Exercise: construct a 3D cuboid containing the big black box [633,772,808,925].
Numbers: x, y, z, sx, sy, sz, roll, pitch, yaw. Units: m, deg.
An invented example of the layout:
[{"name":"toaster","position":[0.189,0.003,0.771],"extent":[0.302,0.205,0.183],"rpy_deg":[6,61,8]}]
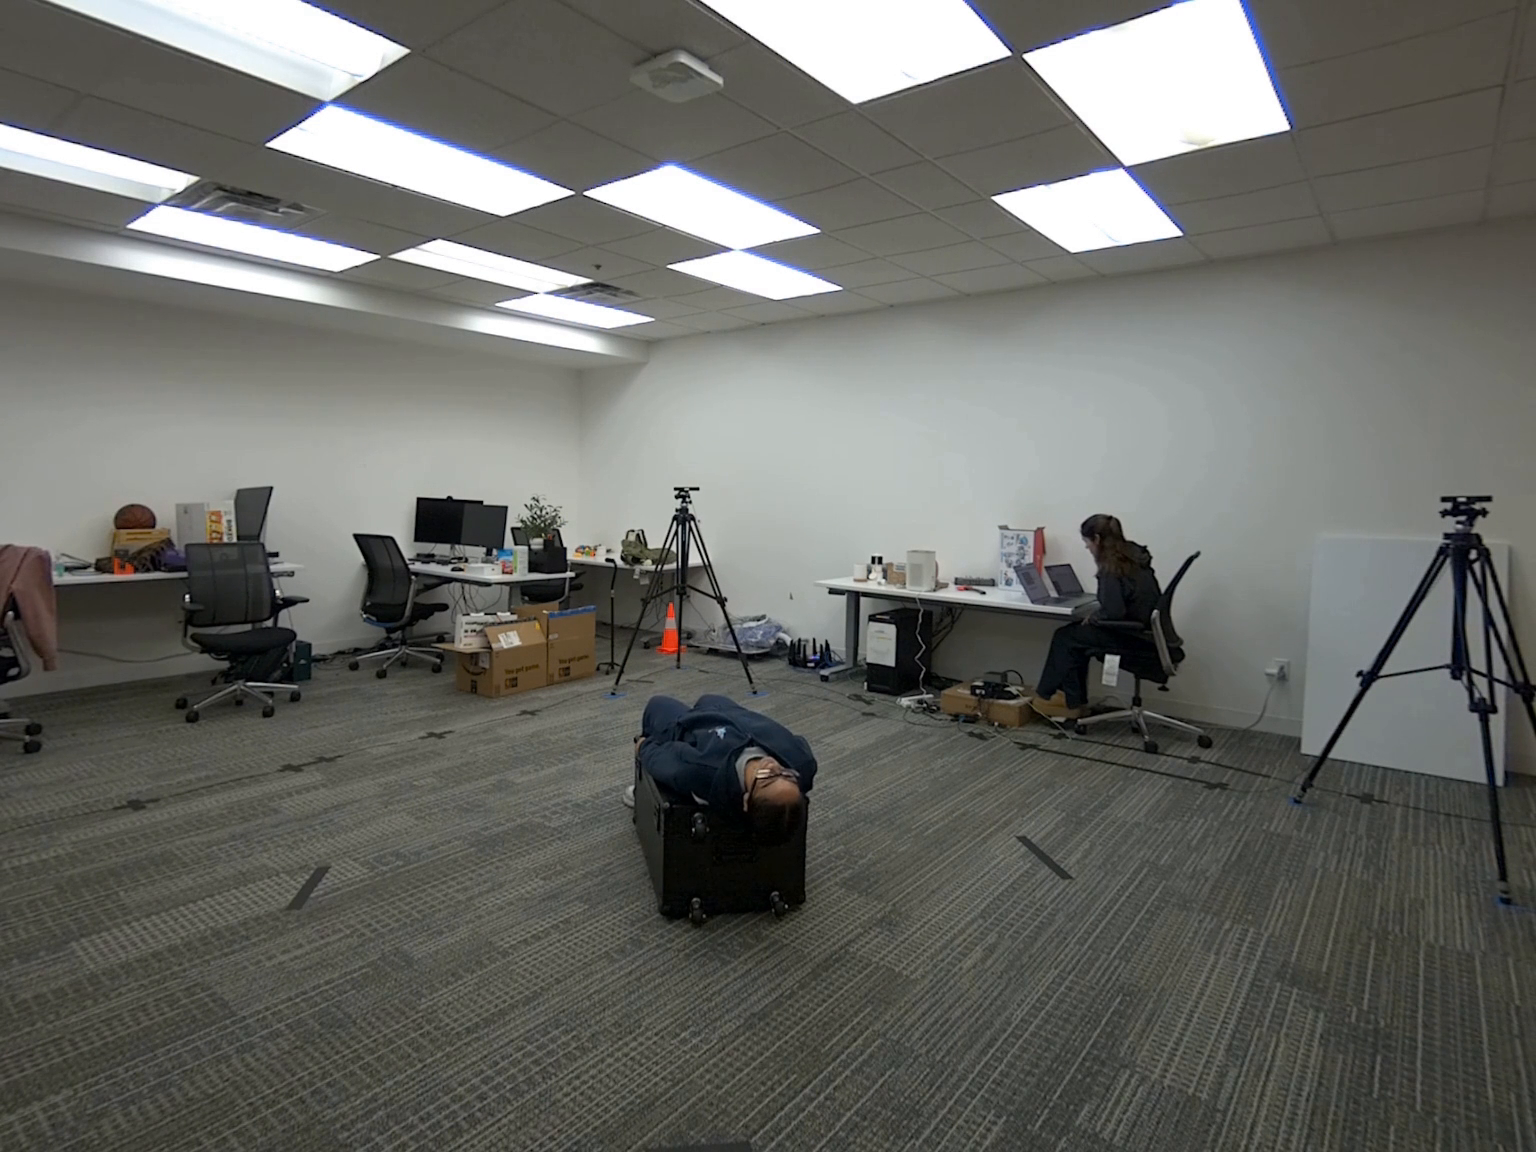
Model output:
[{"name":"big black box","position":[-0.208,0.878,3.091],"extent":[0.513,0.395,0.878],"rpy_deg":[2,5,-15]}]
